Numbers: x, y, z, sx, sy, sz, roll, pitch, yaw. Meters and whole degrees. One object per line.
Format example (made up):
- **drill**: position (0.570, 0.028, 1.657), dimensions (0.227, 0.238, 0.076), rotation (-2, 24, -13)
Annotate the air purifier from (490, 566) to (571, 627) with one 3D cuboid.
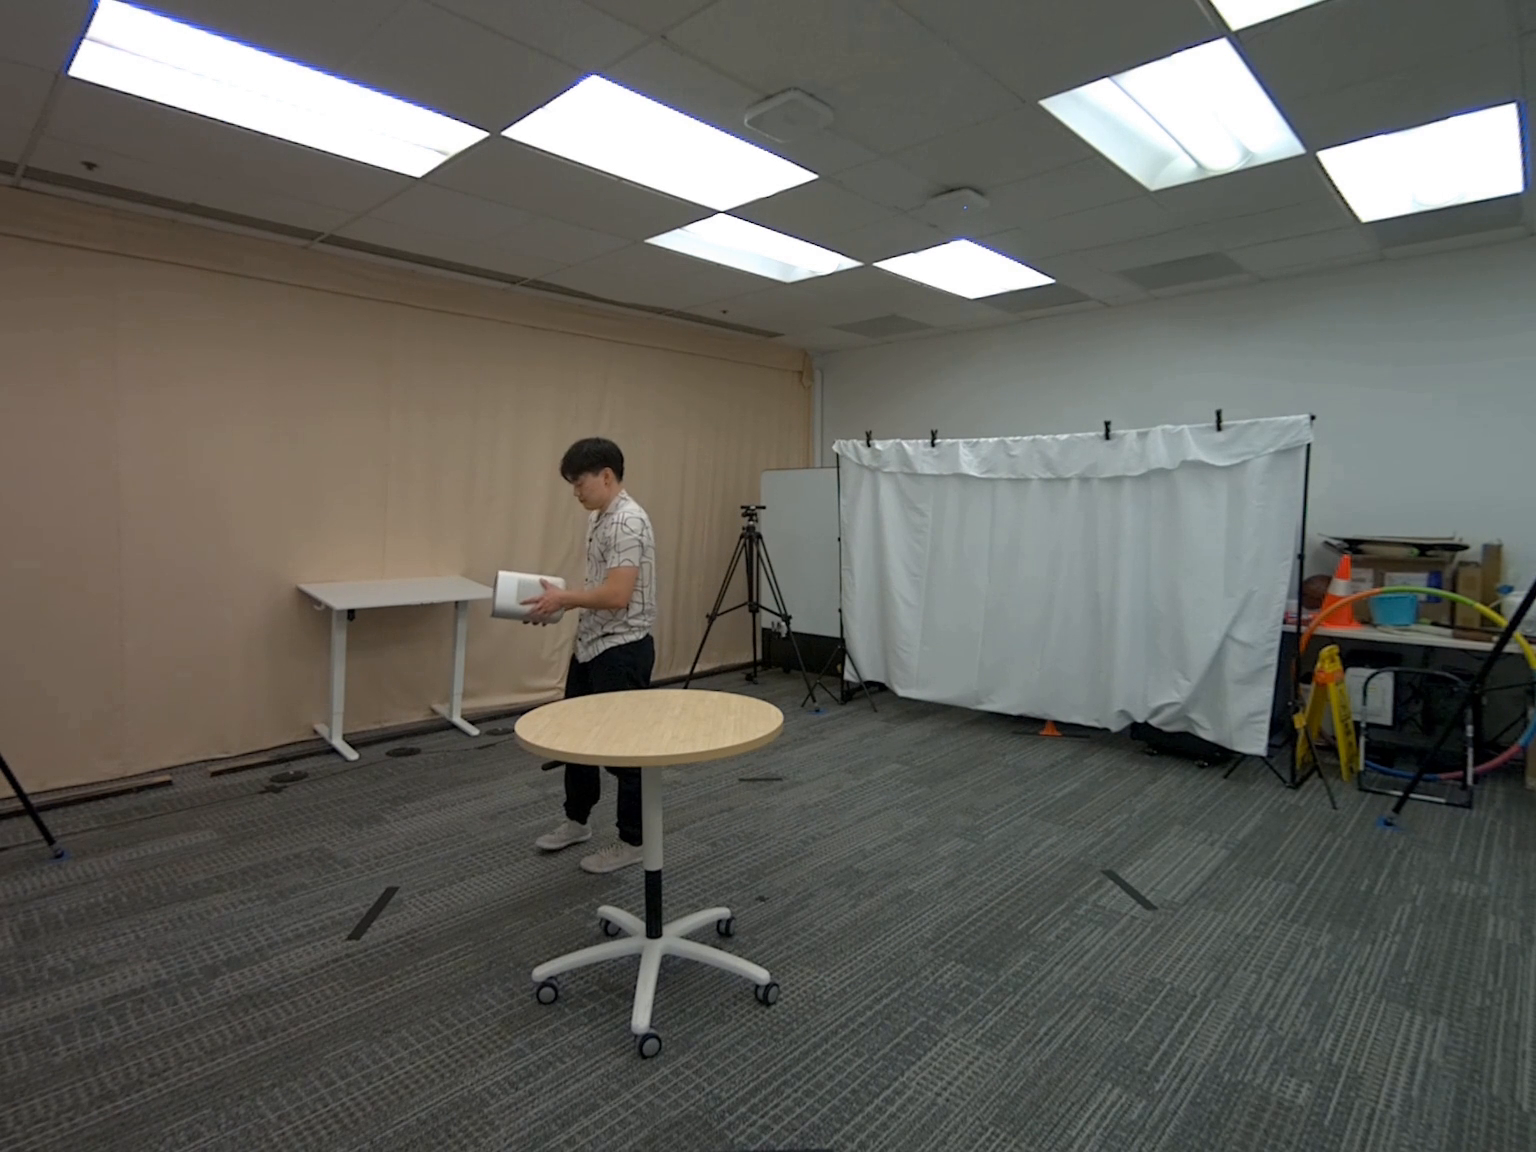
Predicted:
- **air purifier**: position (-0.912, 0.079, 3.241), dimensions (0.260, 0.173, 0.173), rotation (7, -17, -18)
